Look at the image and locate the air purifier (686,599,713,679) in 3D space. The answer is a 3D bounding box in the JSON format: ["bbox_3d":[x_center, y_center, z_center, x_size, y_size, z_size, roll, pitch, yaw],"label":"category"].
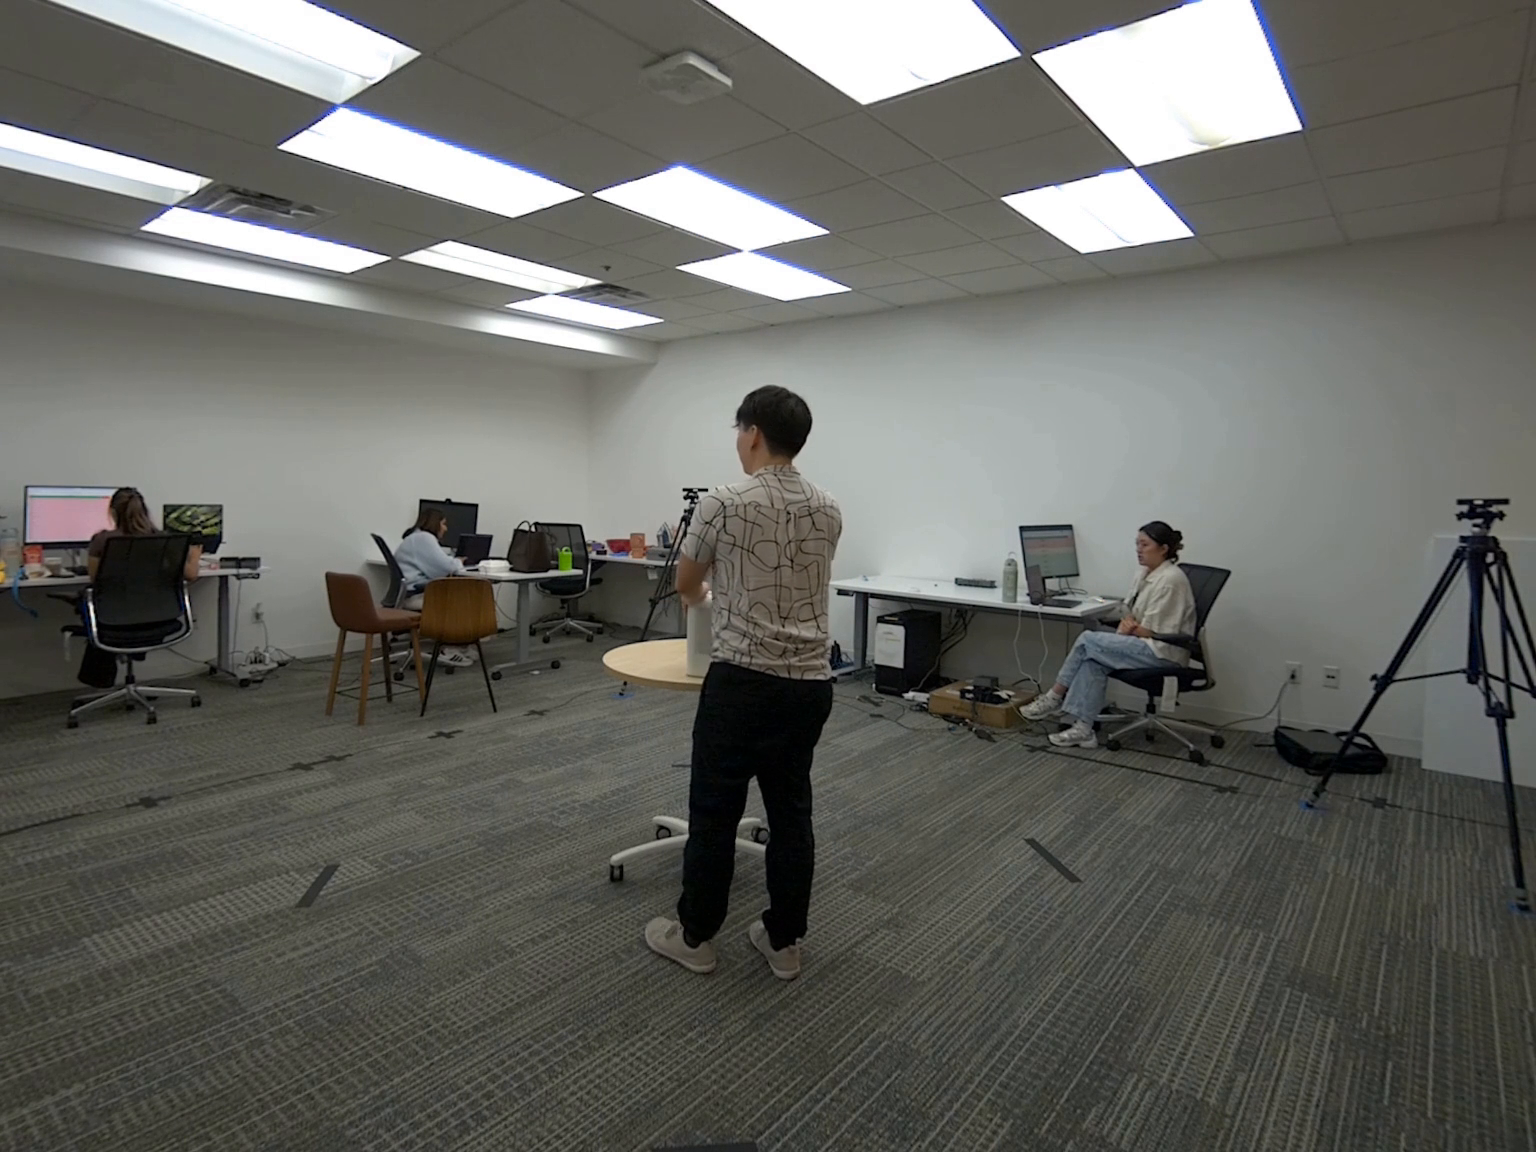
[{"bbox_3d":[-0.186,0.188,2.827,0.173,0.264,0.170,3,5,6],"label":"air purifier"}]
